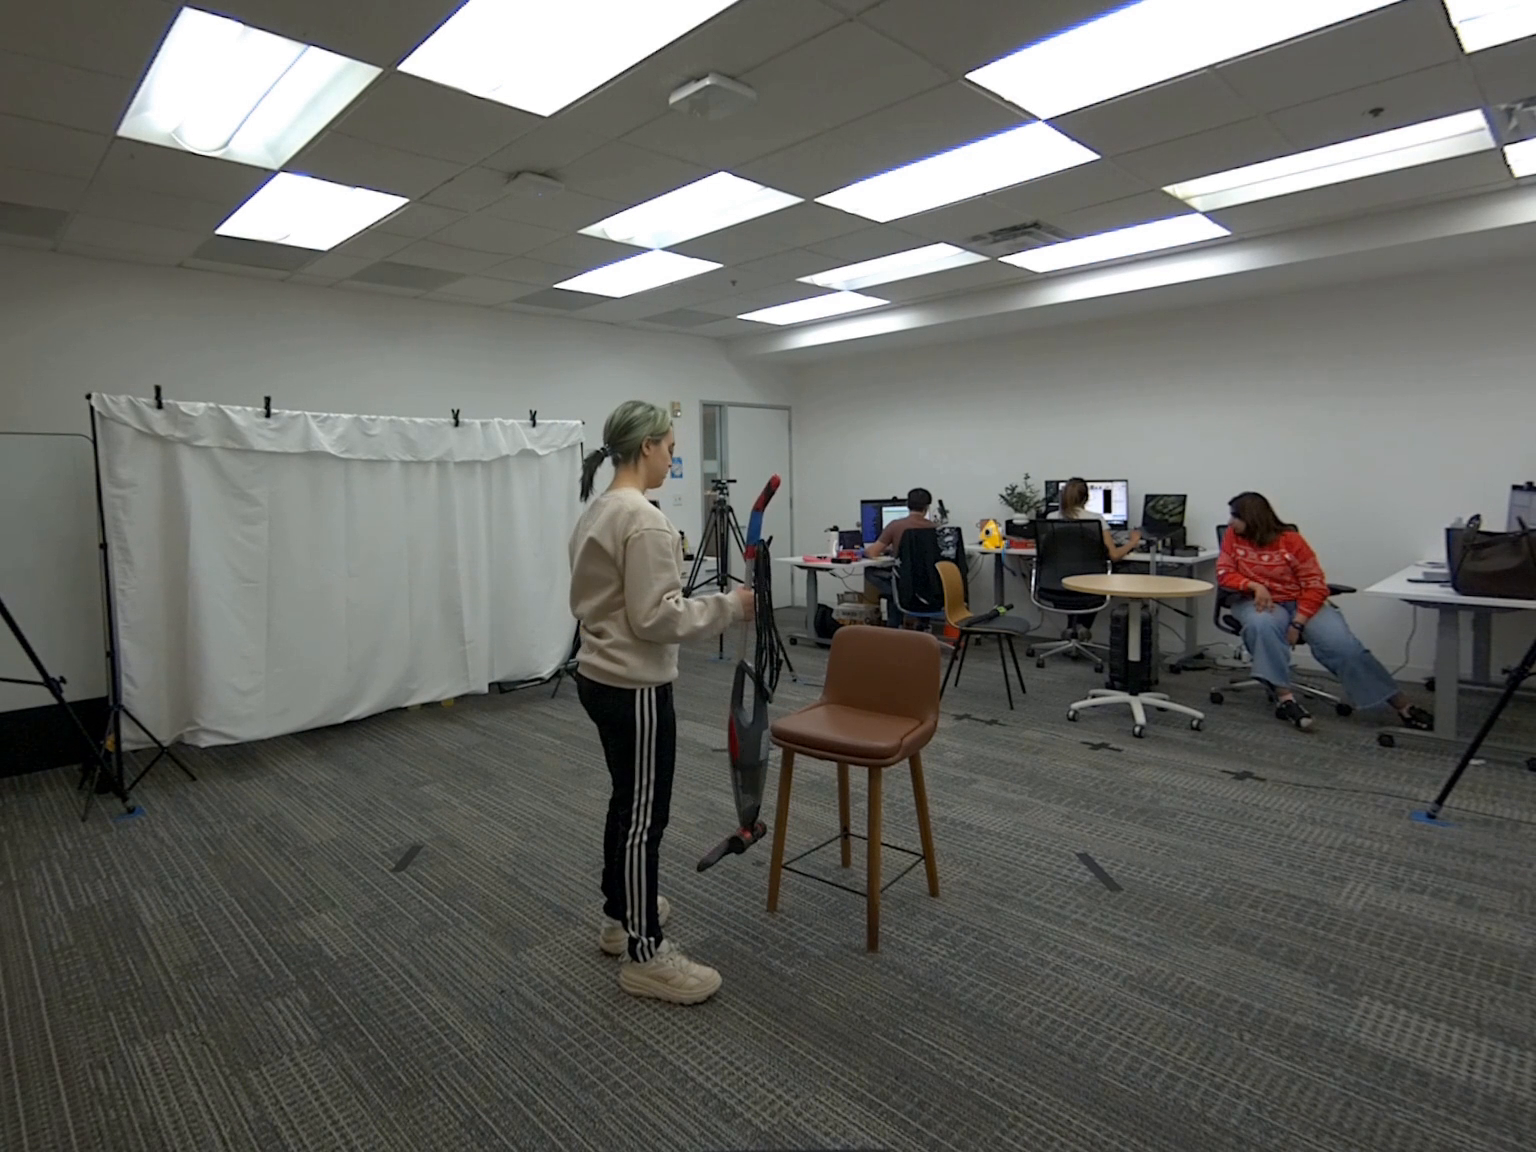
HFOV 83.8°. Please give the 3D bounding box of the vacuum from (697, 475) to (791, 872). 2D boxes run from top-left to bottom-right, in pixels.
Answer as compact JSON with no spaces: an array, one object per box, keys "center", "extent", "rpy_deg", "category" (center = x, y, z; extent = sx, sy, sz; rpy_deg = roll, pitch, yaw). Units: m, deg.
[{"center":[-0.038,0.260,2.351],"extent":[0.148,1.042,0.246],"rpy_deg":[11,9,32],"category":"vacuum"}]
